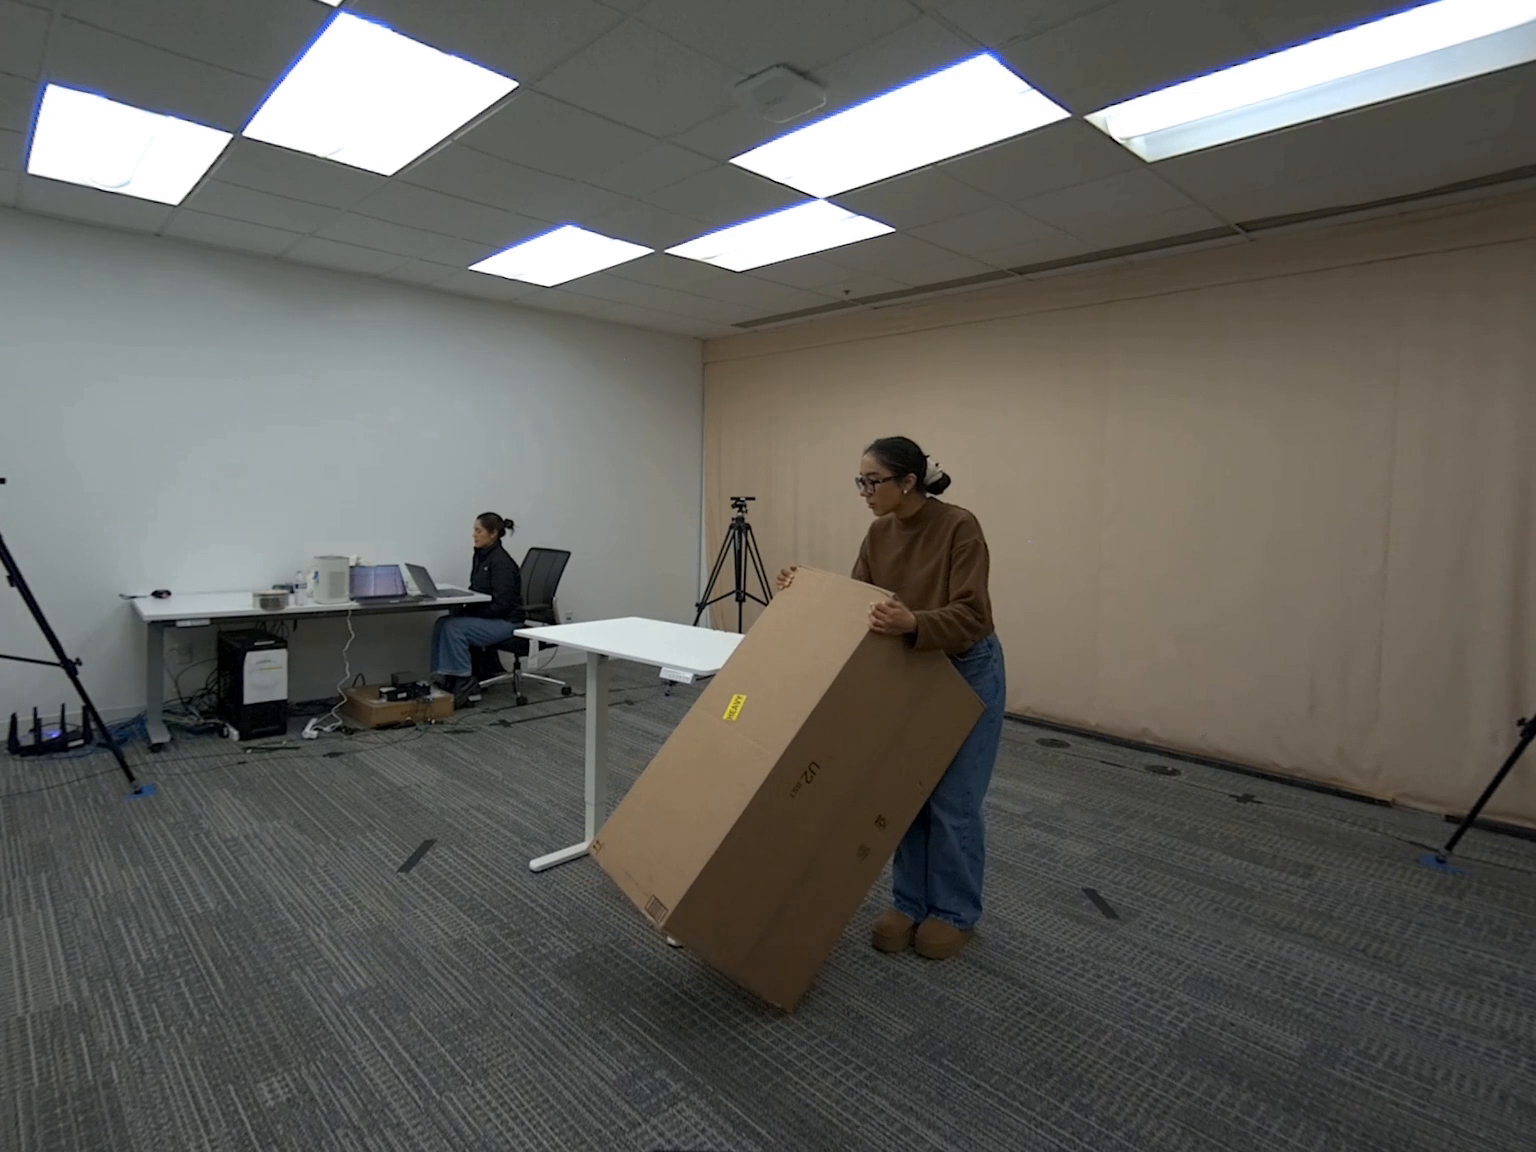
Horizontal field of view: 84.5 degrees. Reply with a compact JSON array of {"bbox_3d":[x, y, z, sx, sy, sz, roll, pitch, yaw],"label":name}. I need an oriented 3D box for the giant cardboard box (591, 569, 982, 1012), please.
[{"bbox_3d":[0.067,0.582,2.410,0.561,1.027,0.438,46,-17,-33],"label":"giant cardboard box"}]
